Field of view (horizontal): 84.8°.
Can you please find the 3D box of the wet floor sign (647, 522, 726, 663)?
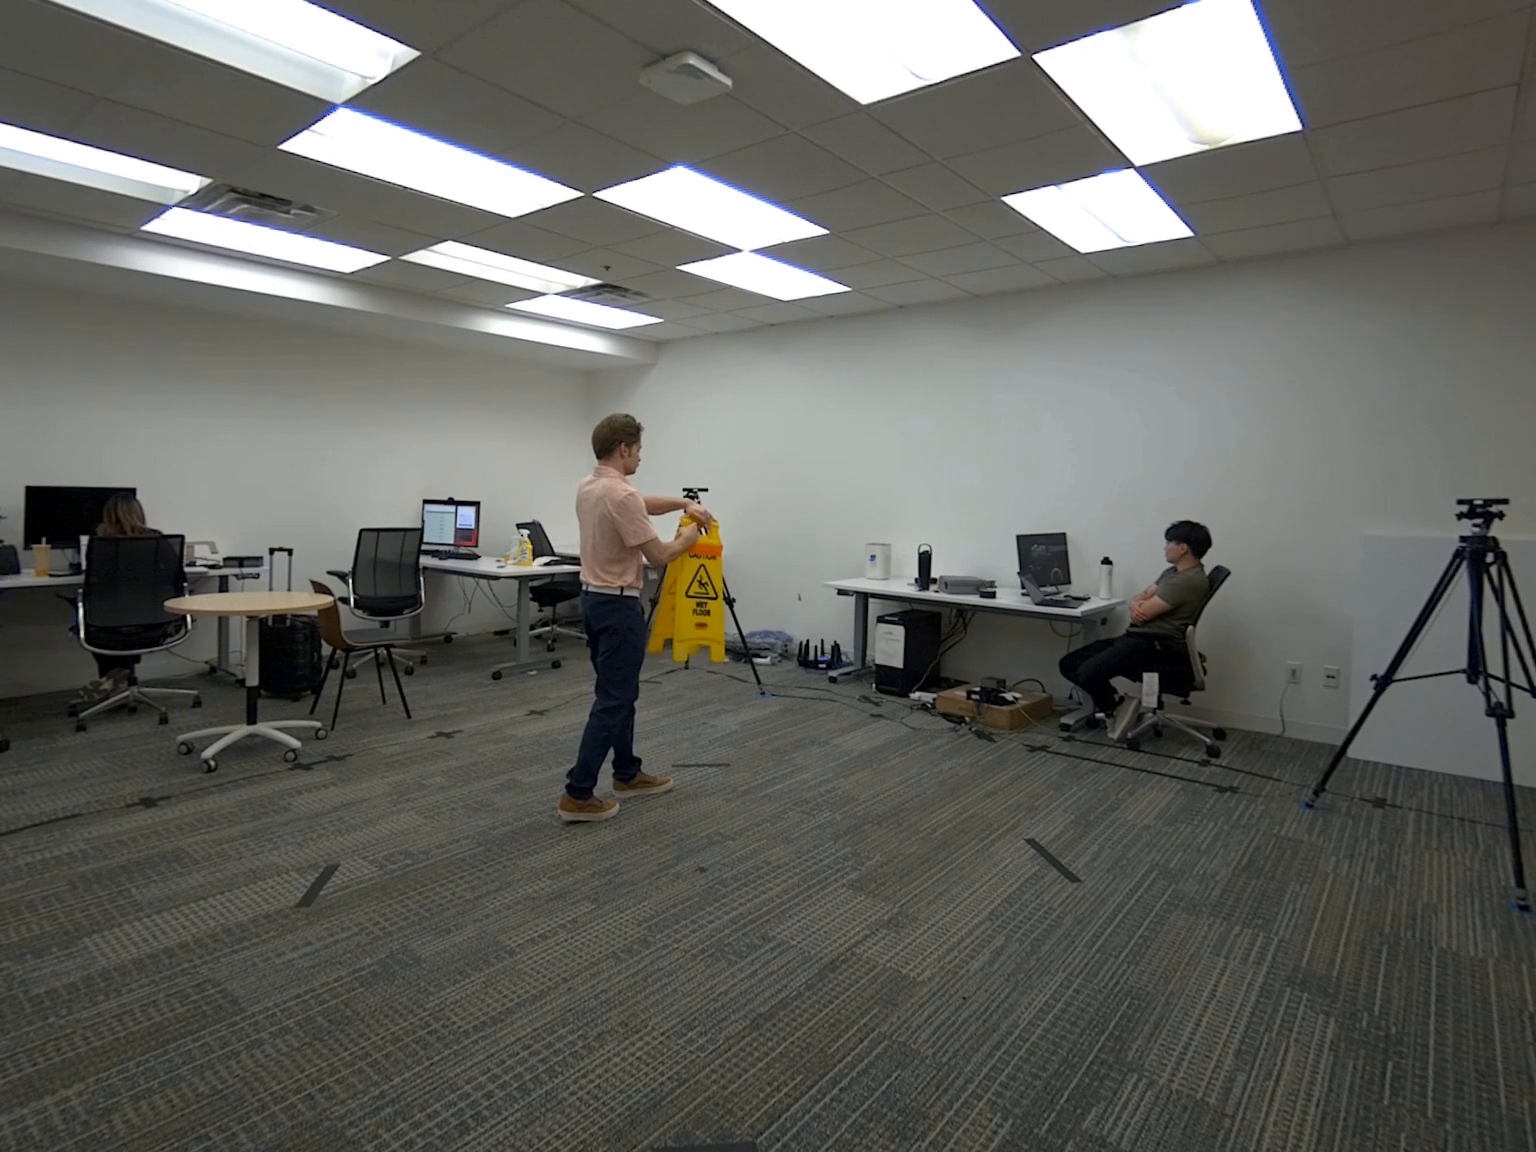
[{"bbox_3d":[-0.360,0.051,3.934,0.273,0.647,0.299,8,-2,-35],"label":"wet floor sign"}]
